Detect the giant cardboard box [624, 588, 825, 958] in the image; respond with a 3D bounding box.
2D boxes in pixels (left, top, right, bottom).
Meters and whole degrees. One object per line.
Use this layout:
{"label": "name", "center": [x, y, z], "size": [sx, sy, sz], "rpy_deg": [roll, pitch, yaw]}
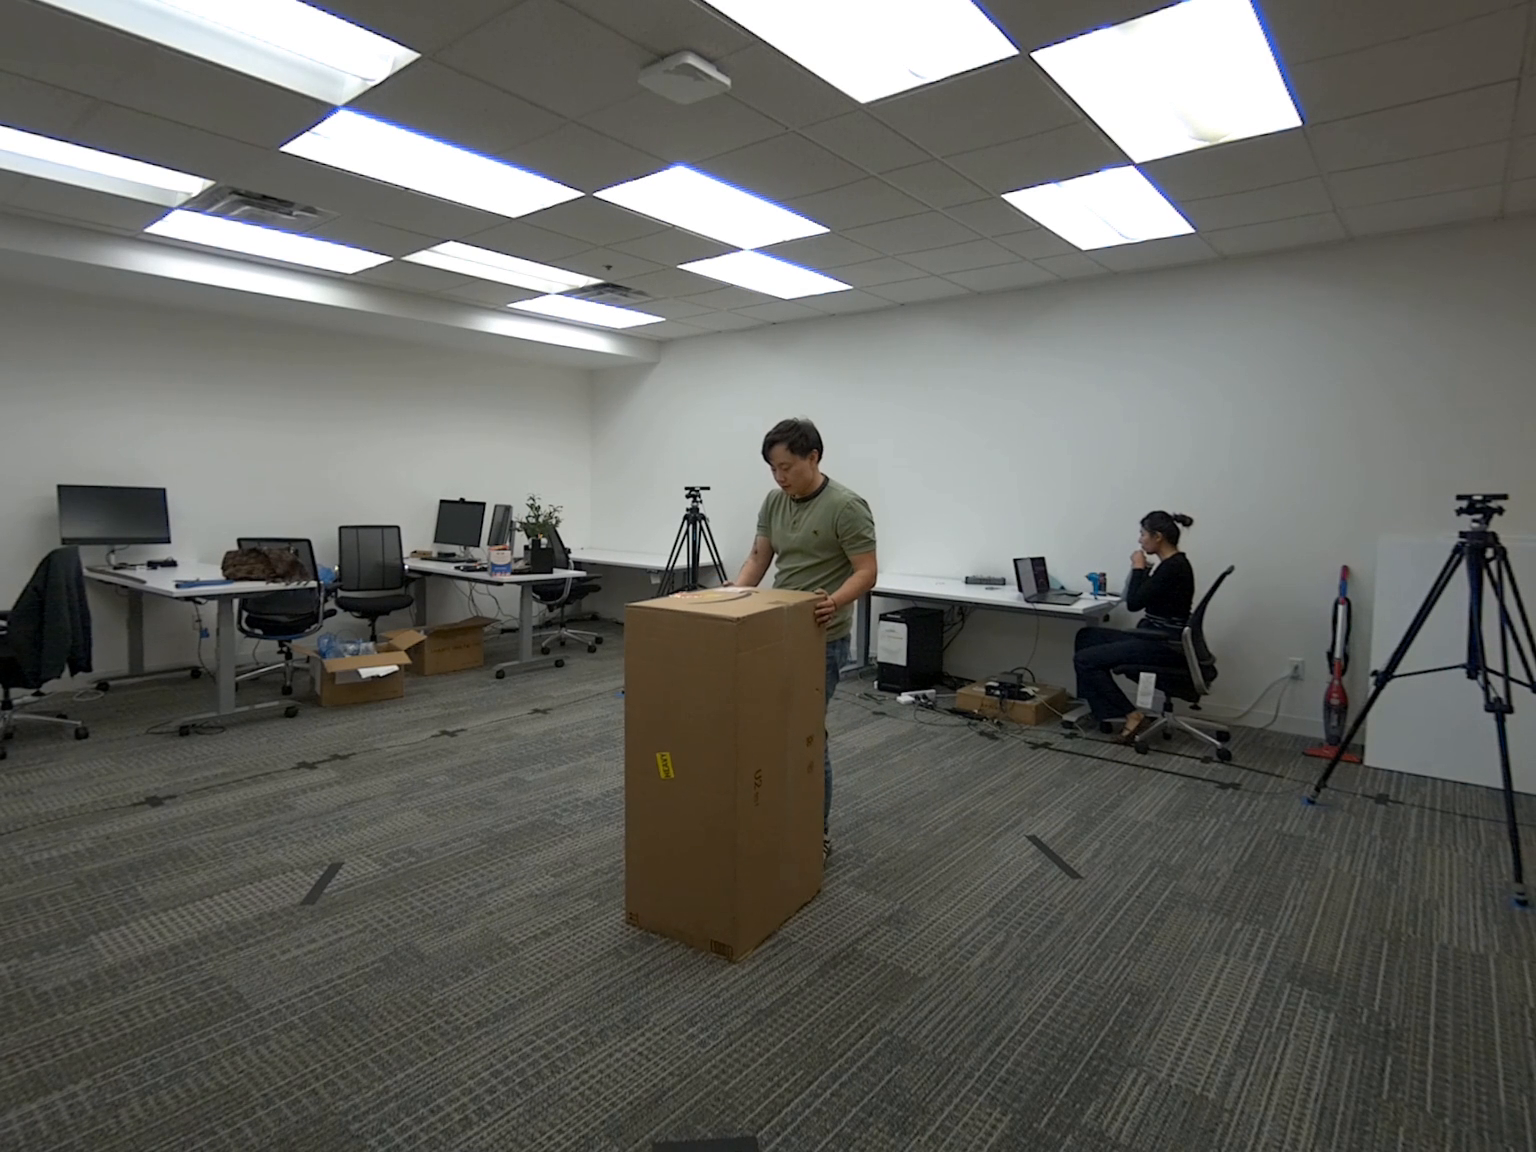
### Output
{"label": "giant cardboard box", "center": [-0.142, 0.584, 2.789], "size": [0.439, 1.022, 0.562], "rpy_deg": [3, 5, 32]}
